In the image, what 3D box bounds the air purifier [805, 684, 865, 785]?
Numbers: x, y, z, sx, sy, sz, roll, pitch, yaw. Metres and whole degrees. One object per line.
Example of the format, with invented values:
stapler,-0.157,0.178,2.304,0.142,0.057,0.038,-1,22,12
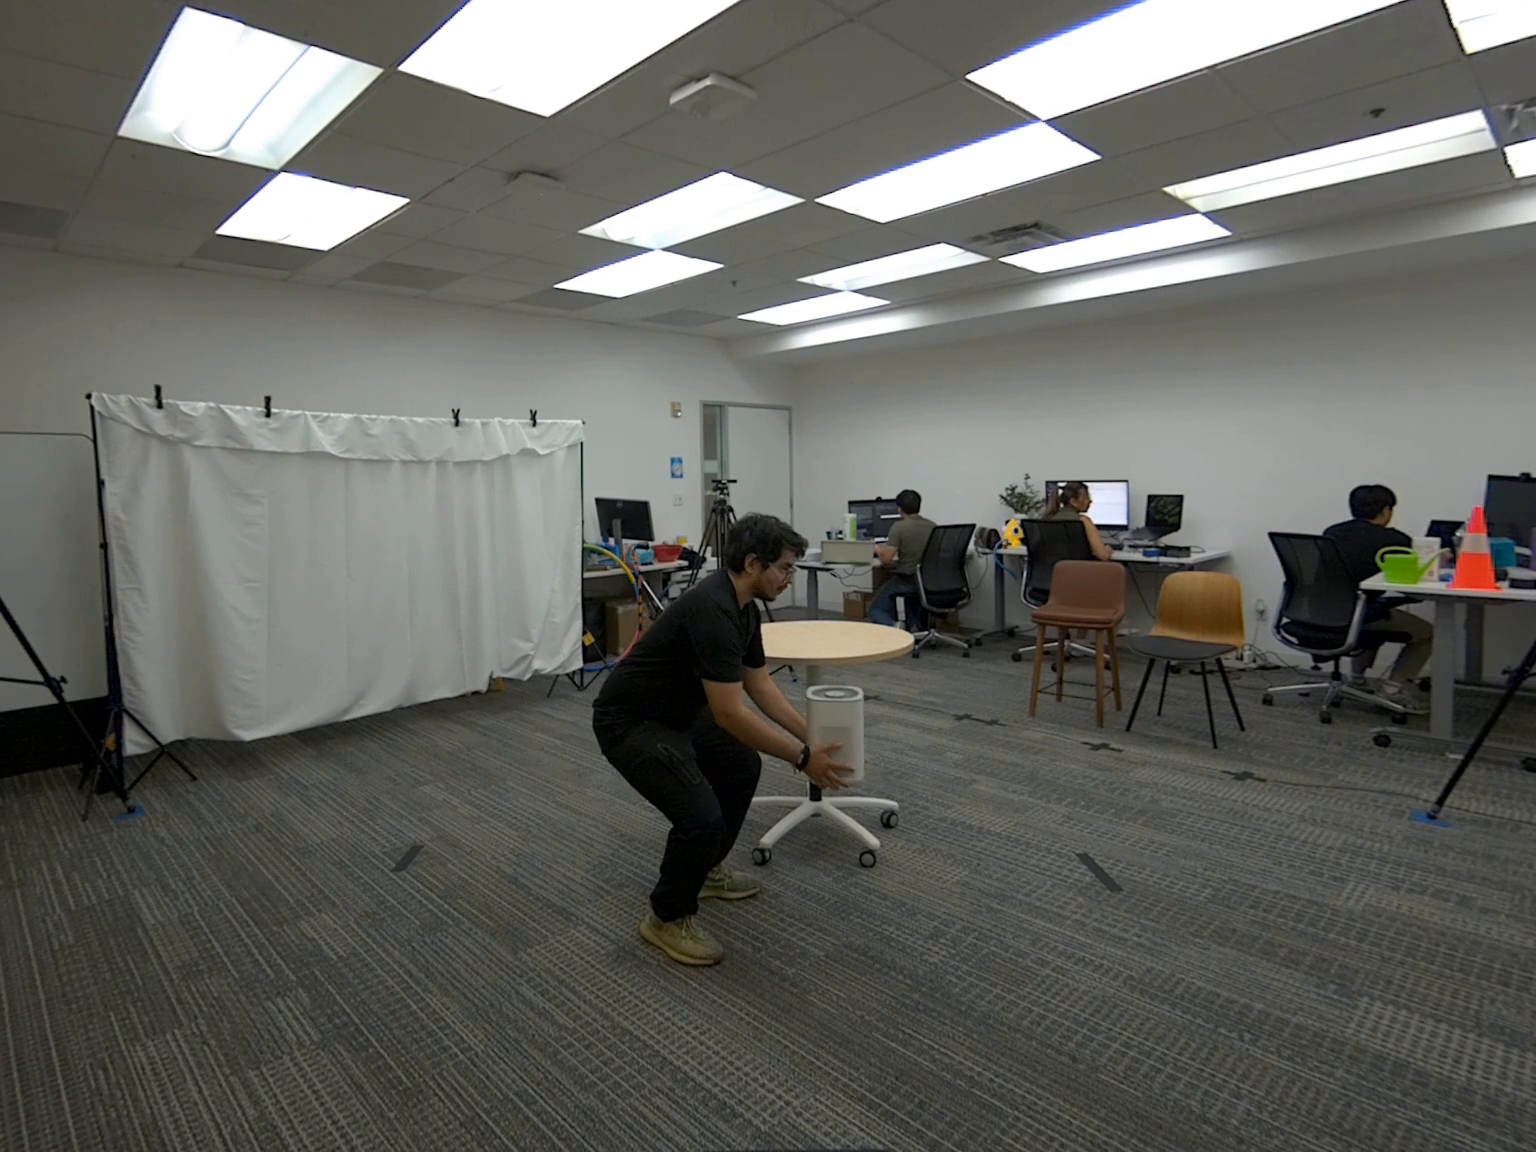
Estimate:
air purifier,0.197,0.478,2.575,0.172,0.264,0.171,-1,5,3
